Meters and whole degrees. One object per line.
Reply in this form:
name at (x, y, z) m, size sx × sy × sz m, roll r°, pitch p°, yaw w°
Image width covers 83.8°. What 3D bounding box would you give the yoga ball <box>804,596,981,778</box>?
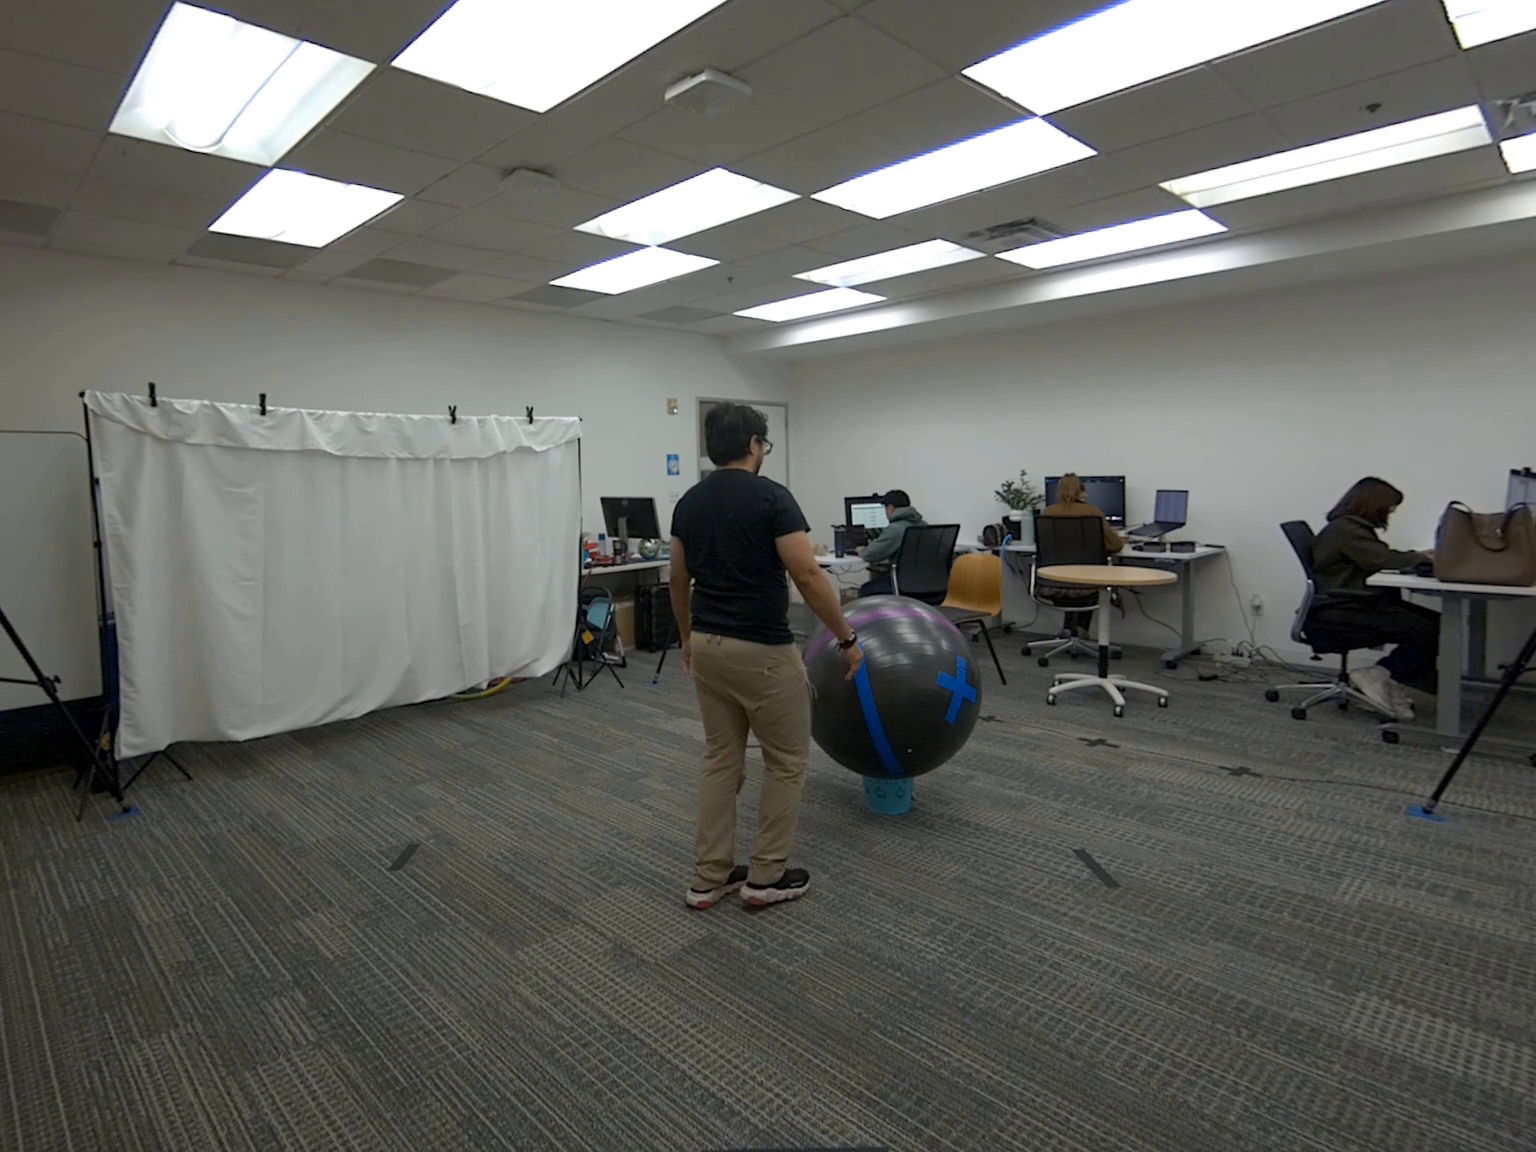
yoga ball at (0.500, 0.466, 3.571) m, size 0.757 × 0.755 × 0.762 m, roll -1°, pitch 5°, yaw -2°
